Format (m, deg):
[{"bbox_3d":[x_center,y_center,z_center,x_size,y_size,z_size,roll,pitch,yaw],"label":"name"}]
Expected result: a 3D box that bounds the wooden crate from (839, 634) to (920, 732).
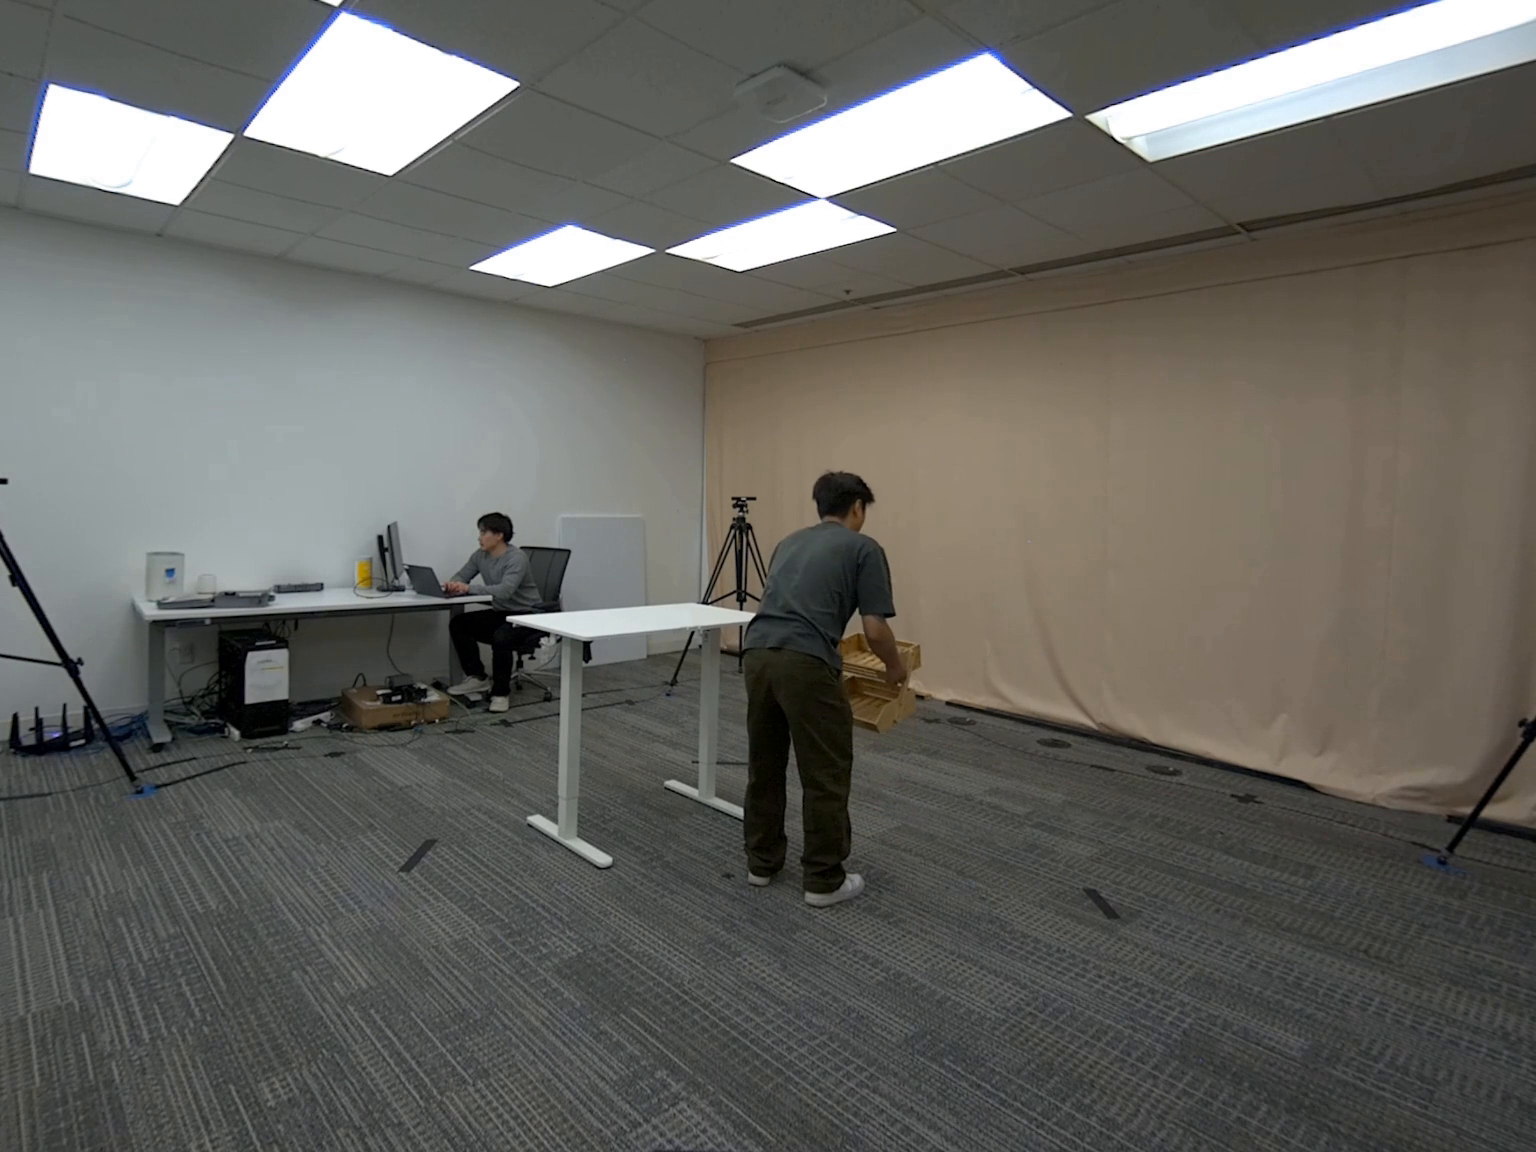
[{"bbox_3d":[0.376,0.404,3.270,0.297,0.270,0.333,-17,18,-42],"label":"wooden crate"}]
